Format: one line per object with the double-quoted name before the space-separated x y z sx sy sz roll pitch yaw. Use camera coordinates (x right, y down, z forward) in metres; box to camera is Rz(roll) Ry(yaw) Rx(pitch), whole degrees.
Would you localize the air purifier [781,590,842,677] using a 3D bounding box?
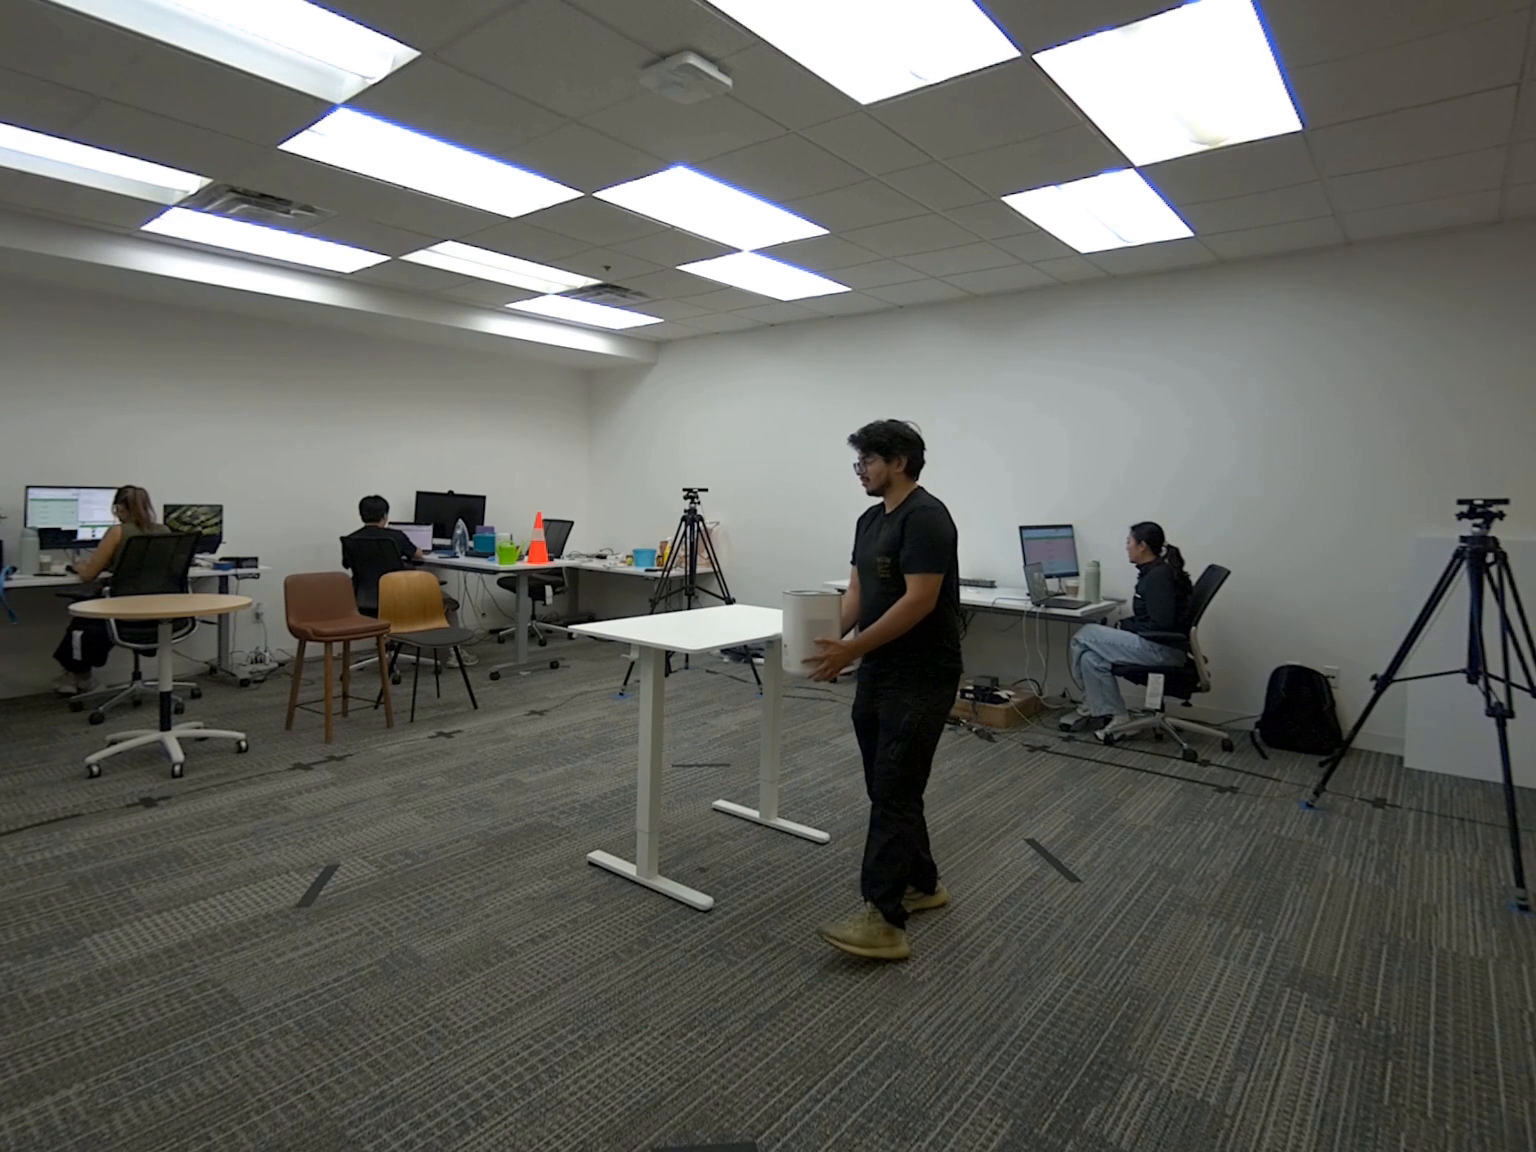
"air purifier" 0.133 0.178 2.699 0.169 0.265 0.174 0 2 -16
